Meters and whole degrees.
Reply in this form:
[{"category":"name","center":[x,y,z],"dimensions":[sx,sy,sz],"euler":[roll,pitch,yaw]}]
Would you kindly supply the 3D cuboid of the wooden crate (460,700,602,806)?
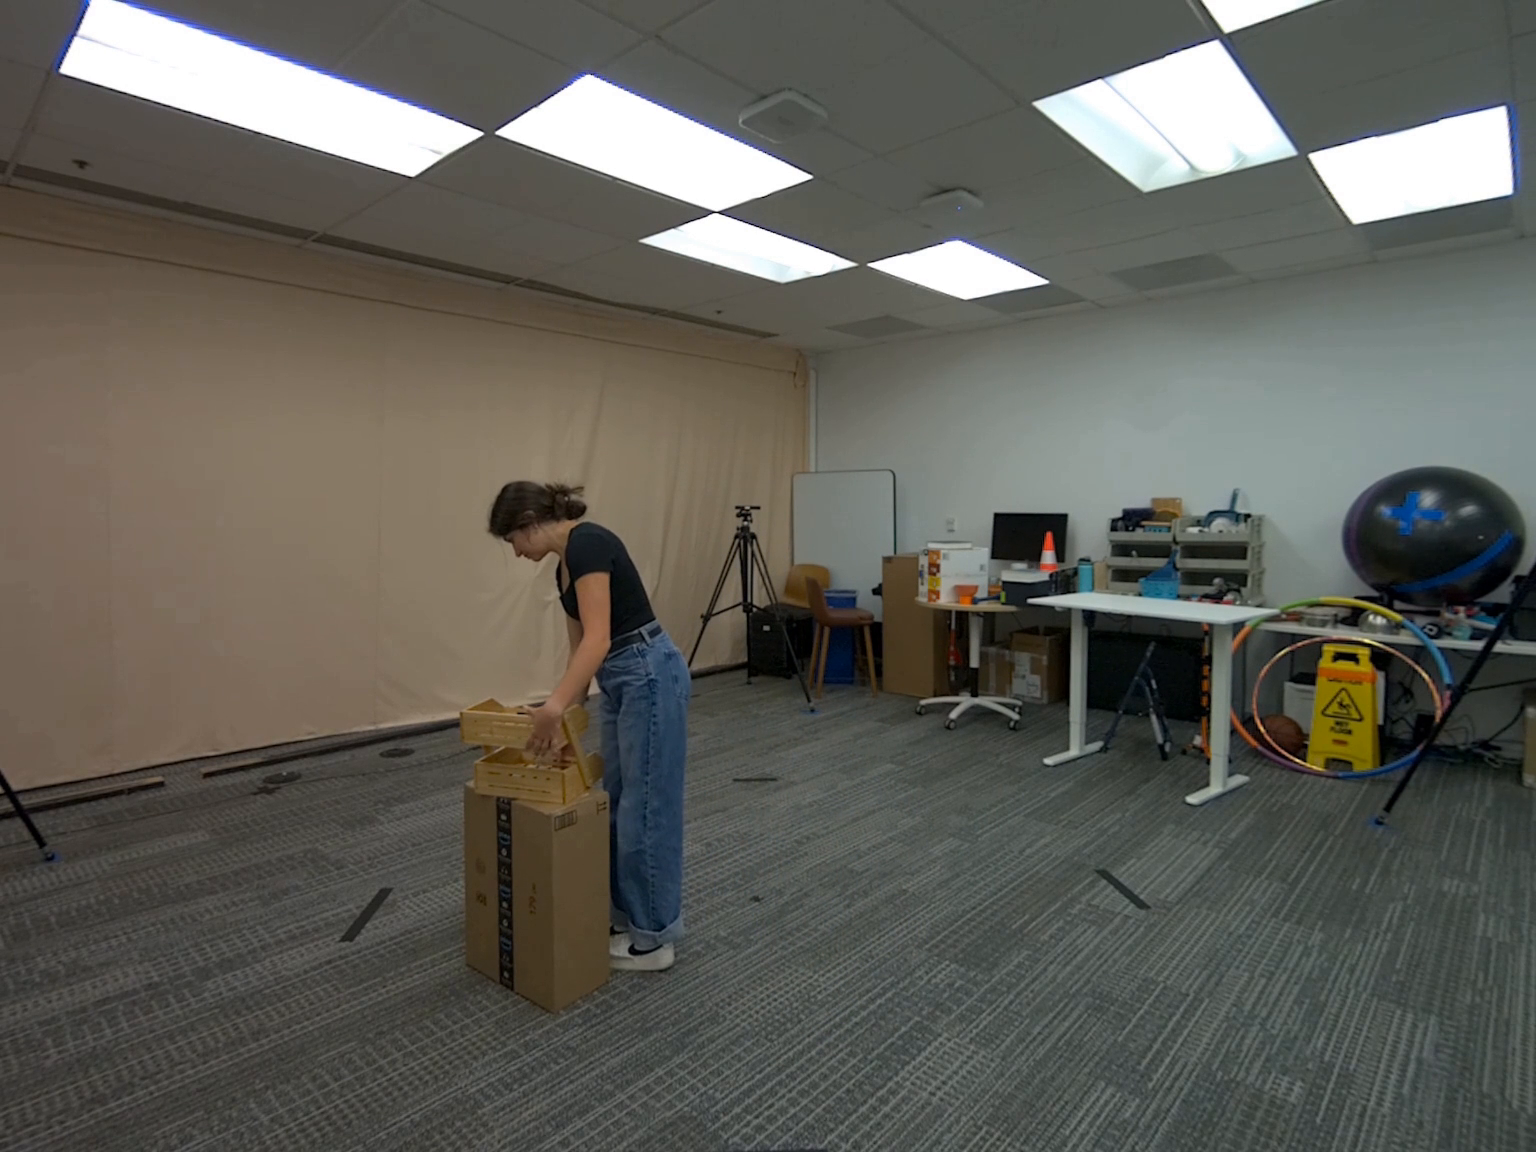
[{"category":"wooden crate","center":[-0.686,0.490,2.507],"dimensions":[0.331,0.272,0.297],"euler":[1,7,17]}]
